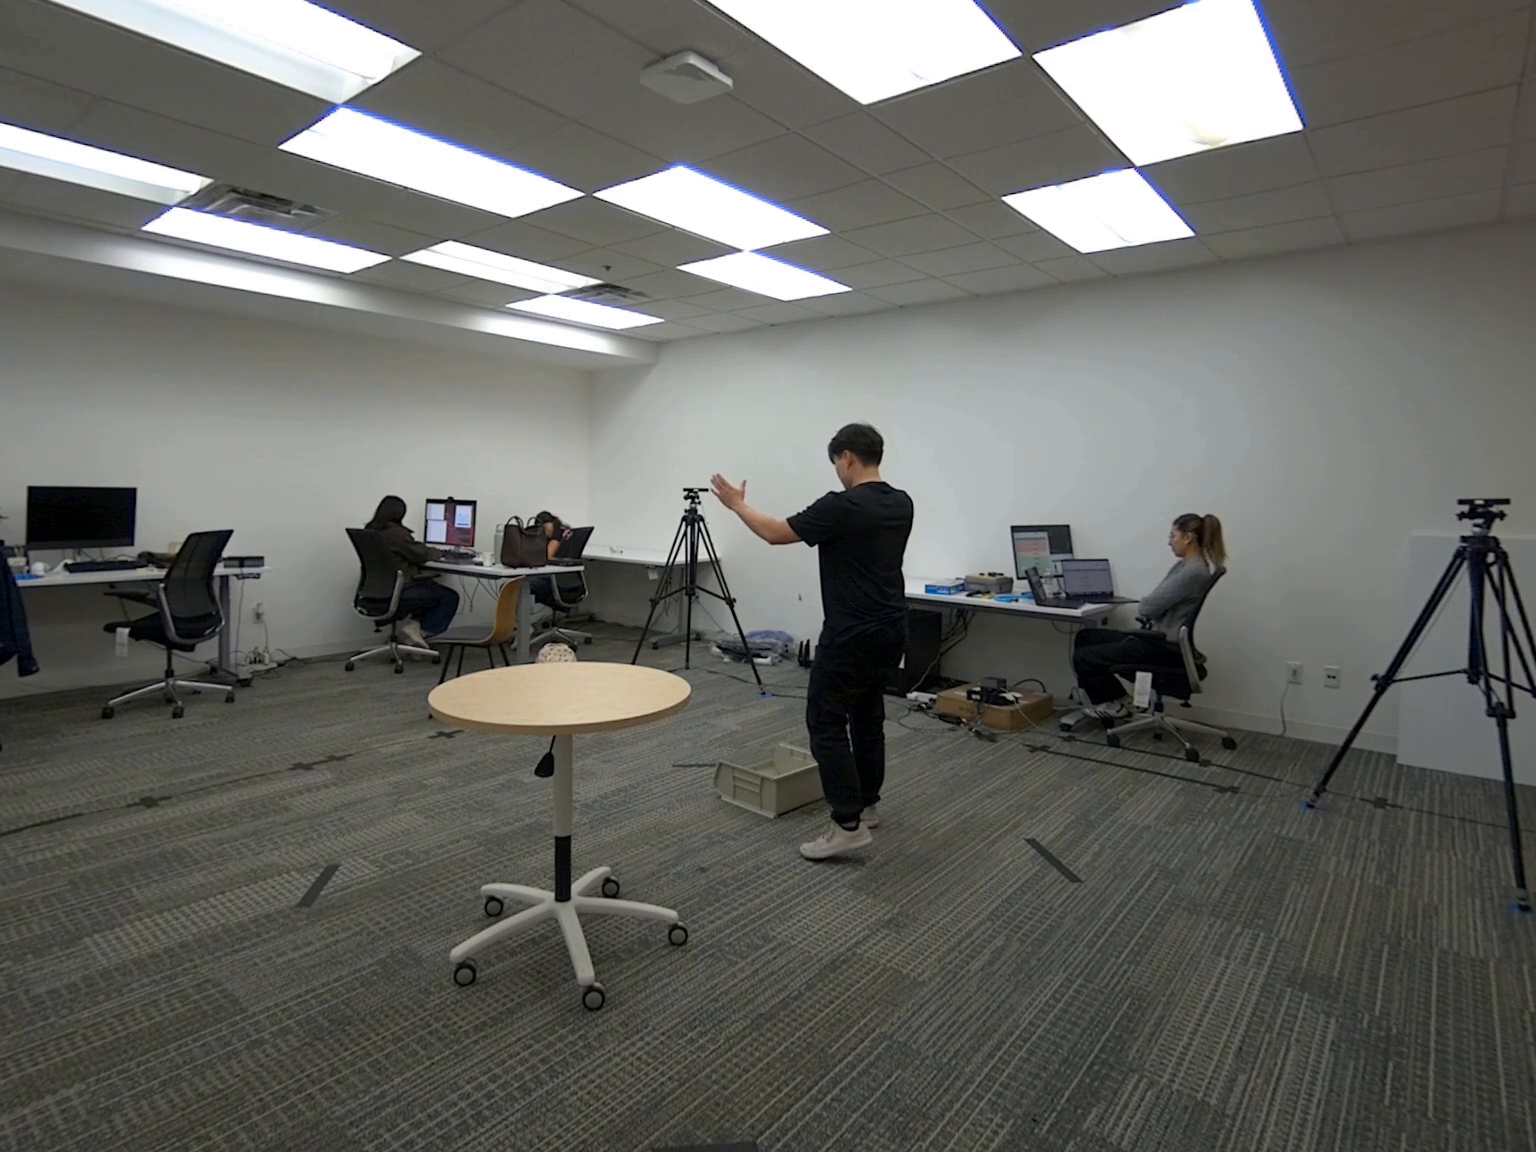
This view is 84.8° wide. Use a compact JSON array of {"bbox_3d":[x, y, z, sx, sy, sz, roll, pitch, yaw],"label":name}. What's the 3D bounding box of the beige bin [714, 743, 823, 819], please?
[{"bbox_3d":[0.019,0.913,3.866,0.390,0.188,0.409,7,7,43],"label":"beige bin"}]
